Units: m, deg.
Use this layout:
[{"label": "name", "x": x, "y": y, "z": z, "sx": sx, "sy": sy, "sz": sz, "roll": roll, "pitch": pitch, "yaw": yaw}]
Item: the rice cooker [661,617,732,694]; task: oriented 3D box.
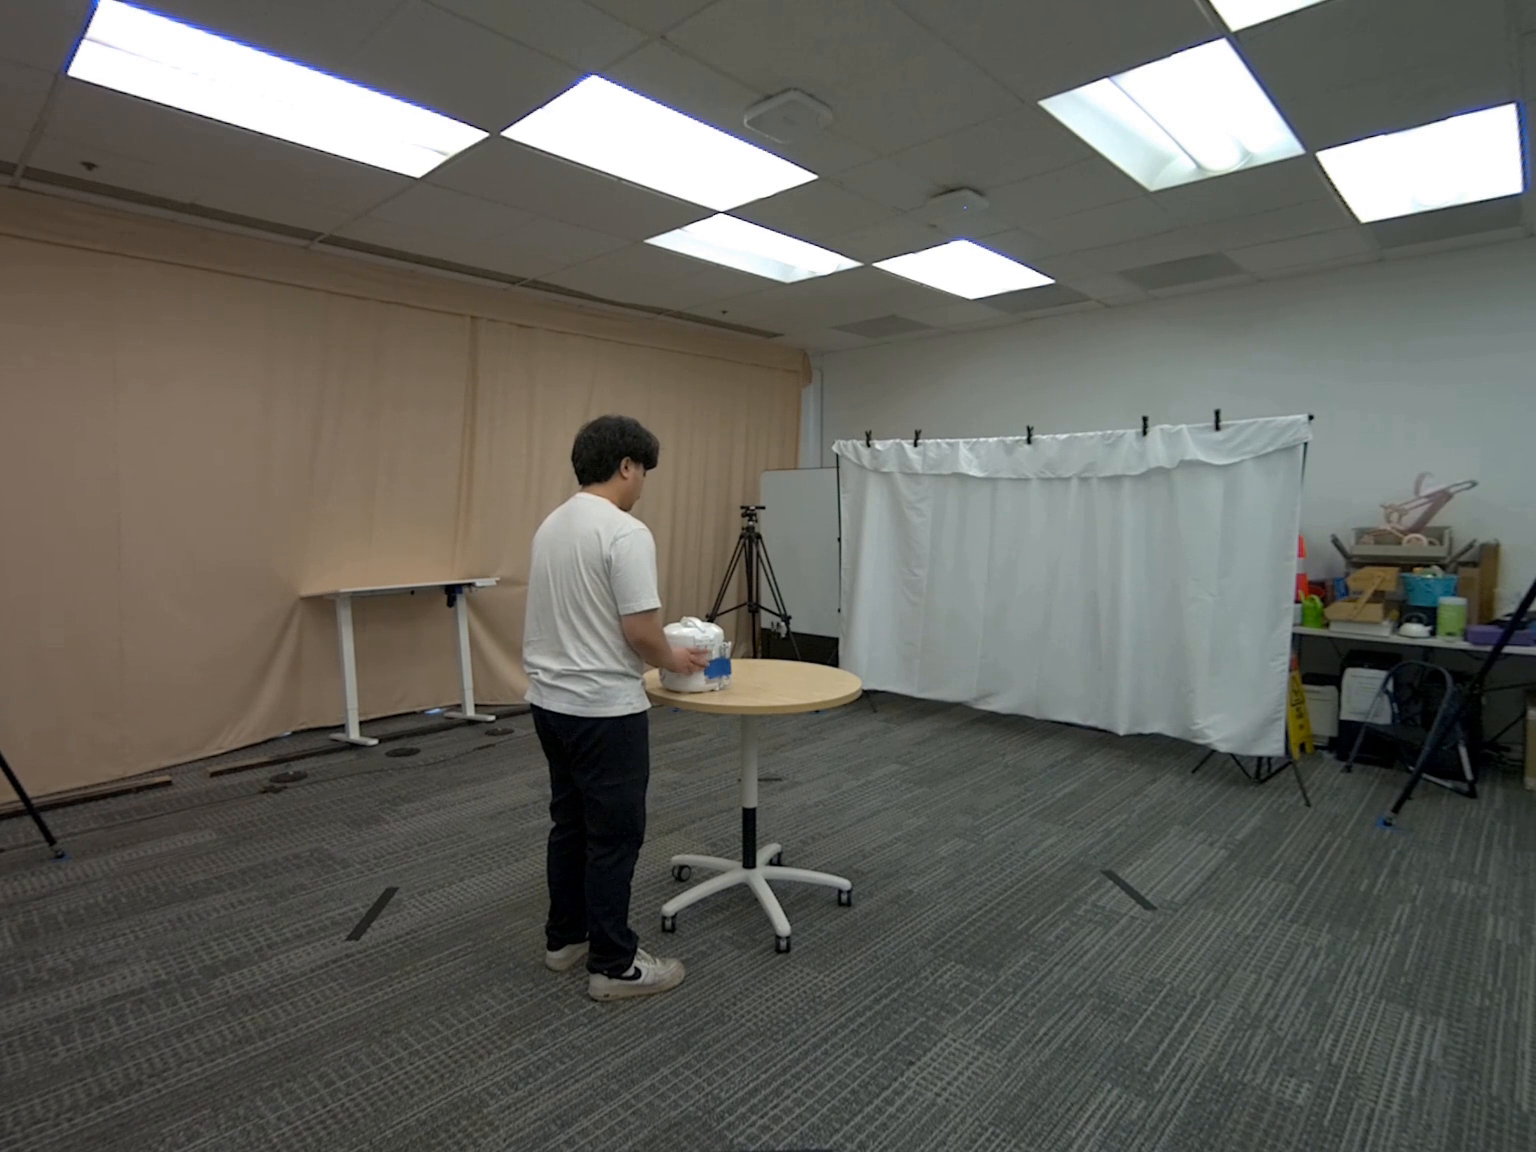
[{"label": "rice cooker", "x": -0.245, "y": 0.253, "z": 2.743, "sx": 0.212, "sy": 0.232, "sz": 0.226, "roll": -1, "pitch": 3, "yaw": -27}]
